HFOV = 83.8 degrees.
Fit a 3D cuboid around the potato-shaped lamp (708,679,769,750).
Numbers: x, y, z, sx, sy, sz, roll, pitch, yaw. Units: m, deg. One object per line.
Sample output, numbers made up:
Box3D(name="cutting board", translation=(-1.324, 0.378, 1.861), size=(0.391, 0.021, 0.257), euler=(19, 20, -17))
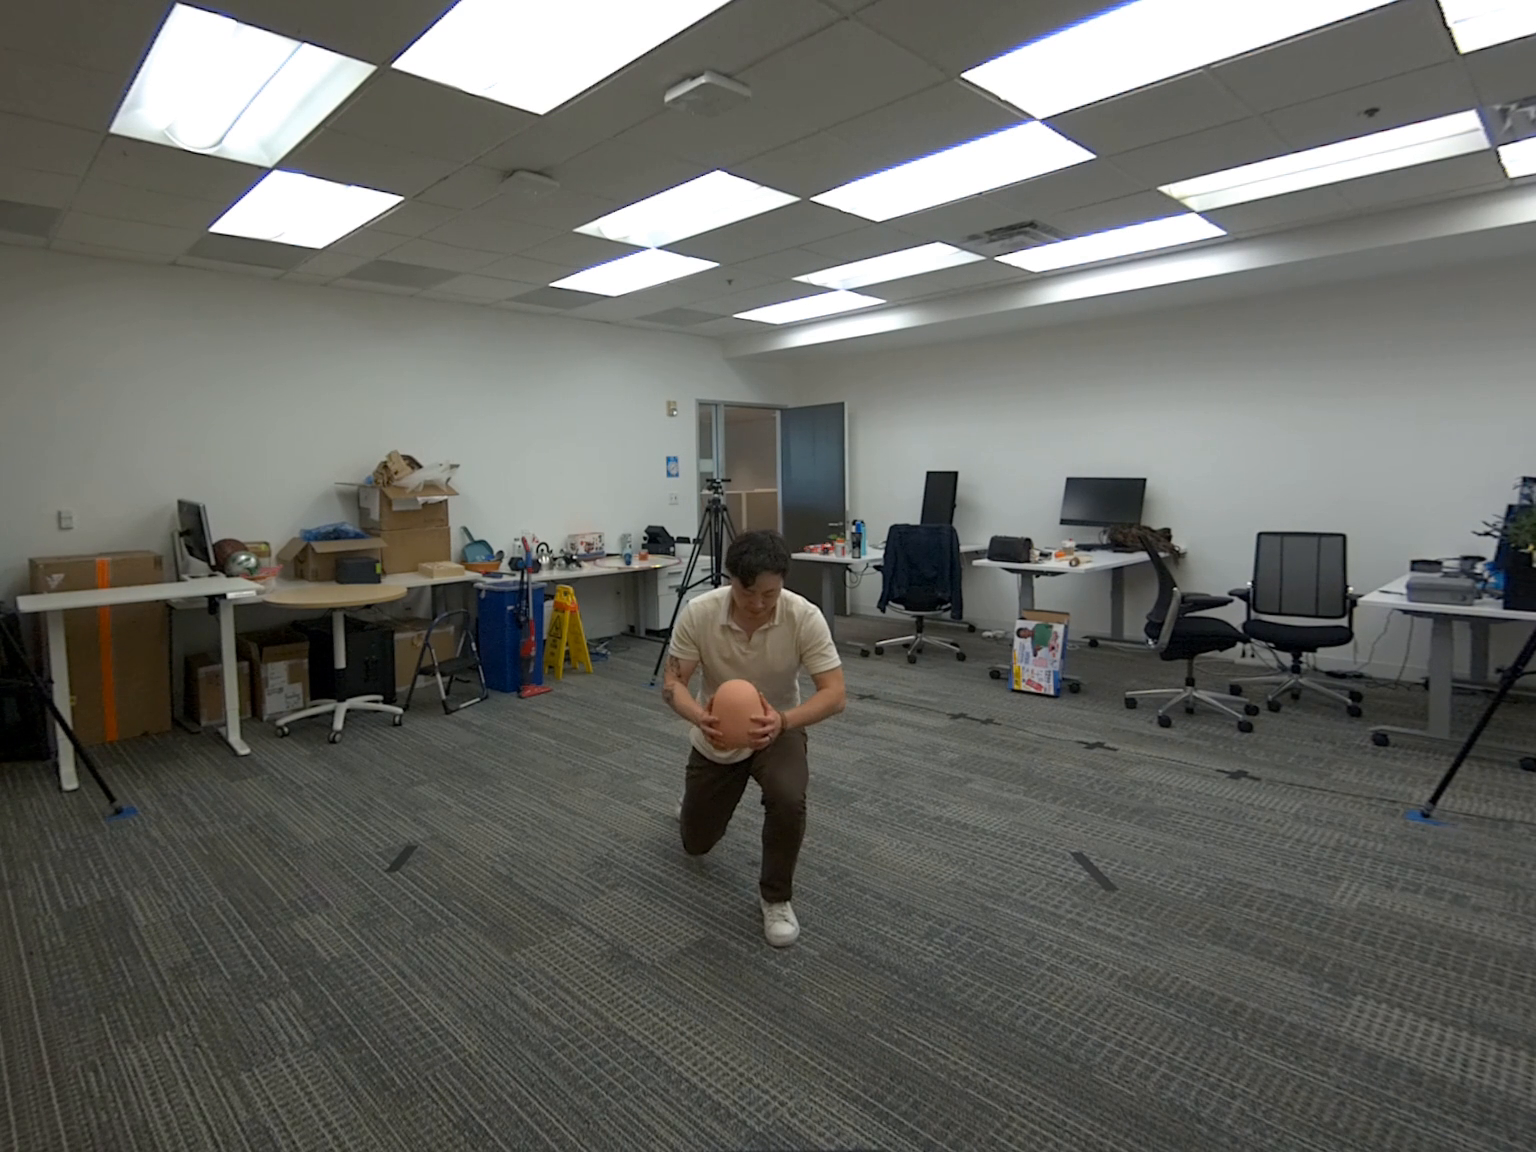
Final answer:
Box3D(name="potato-shaped lamp", translation=(-0.068, 0.398, 2.540), size=(0.166, 0.198, 0.170), euler=(-9, 0, 10))
